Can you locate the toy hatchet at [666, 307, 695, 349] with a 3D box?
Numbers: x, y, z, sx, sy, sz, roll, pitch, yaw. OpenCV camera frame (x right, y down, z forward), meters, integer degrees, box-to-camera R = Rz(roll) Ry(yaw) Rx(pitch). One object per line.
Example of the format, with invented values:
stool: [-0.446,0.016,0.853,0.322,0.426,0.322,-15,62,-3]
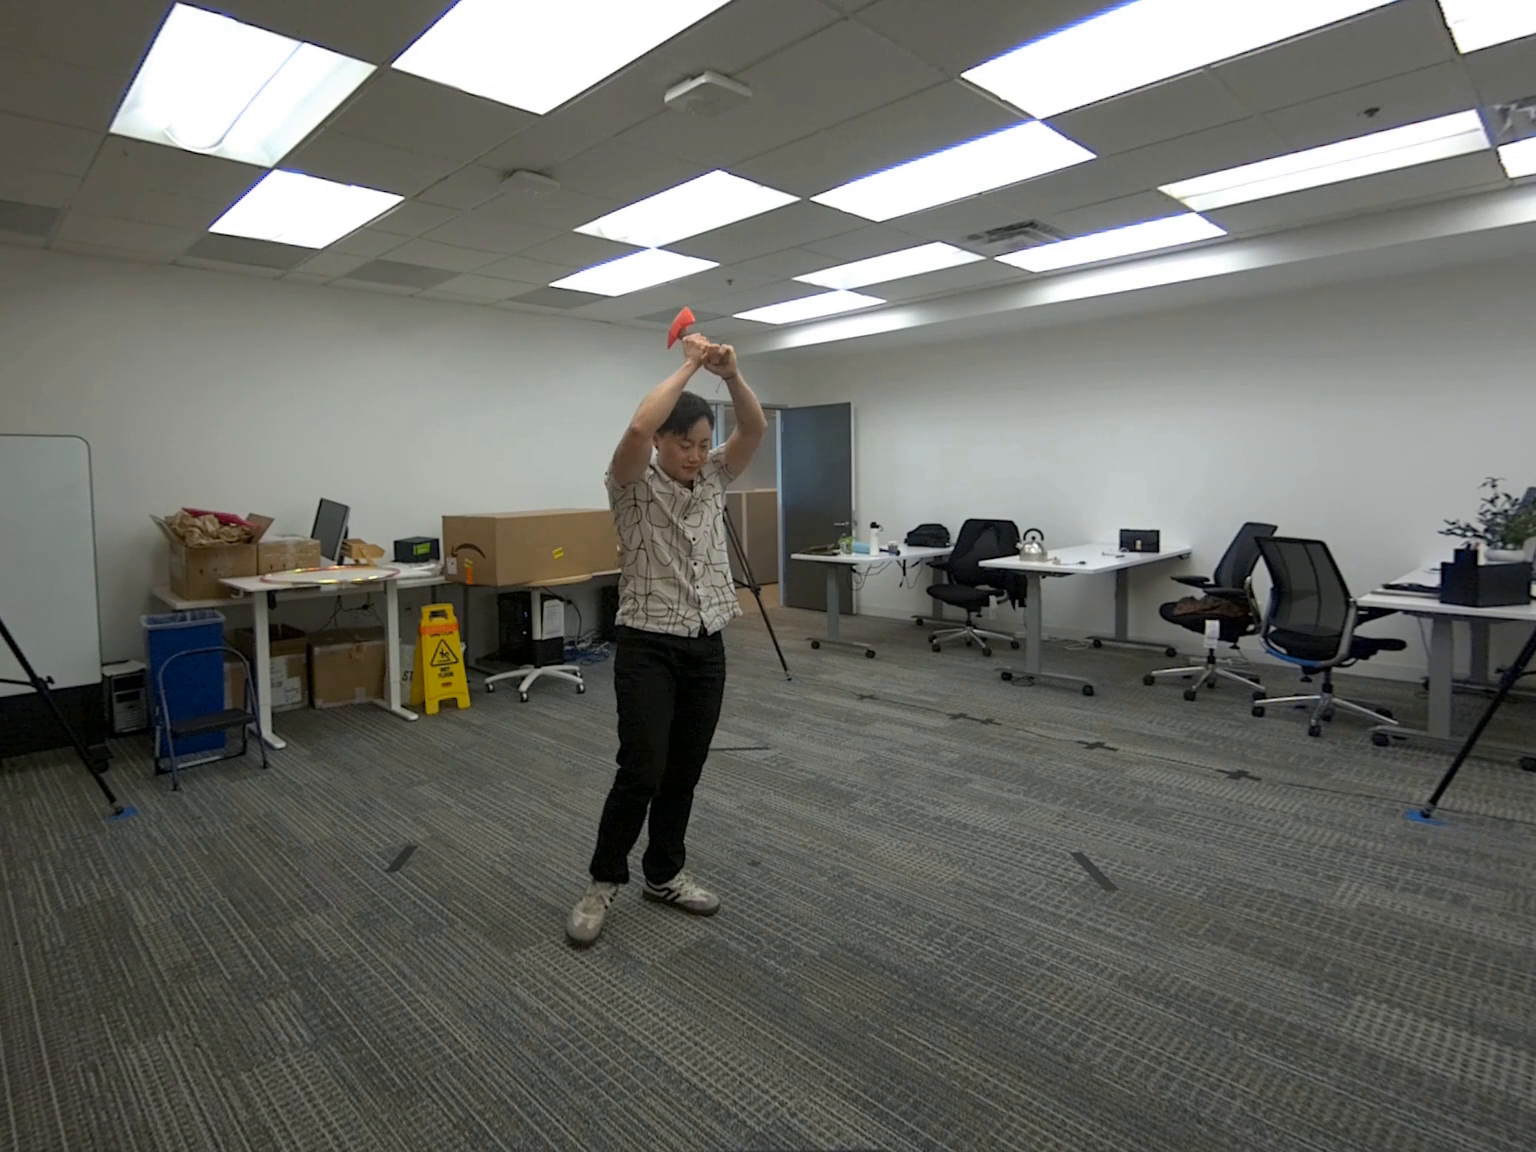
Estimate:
toy hatchet: [-0.196,-0.708,2.483,0.029,0.130,0.280,5,16,-46]
